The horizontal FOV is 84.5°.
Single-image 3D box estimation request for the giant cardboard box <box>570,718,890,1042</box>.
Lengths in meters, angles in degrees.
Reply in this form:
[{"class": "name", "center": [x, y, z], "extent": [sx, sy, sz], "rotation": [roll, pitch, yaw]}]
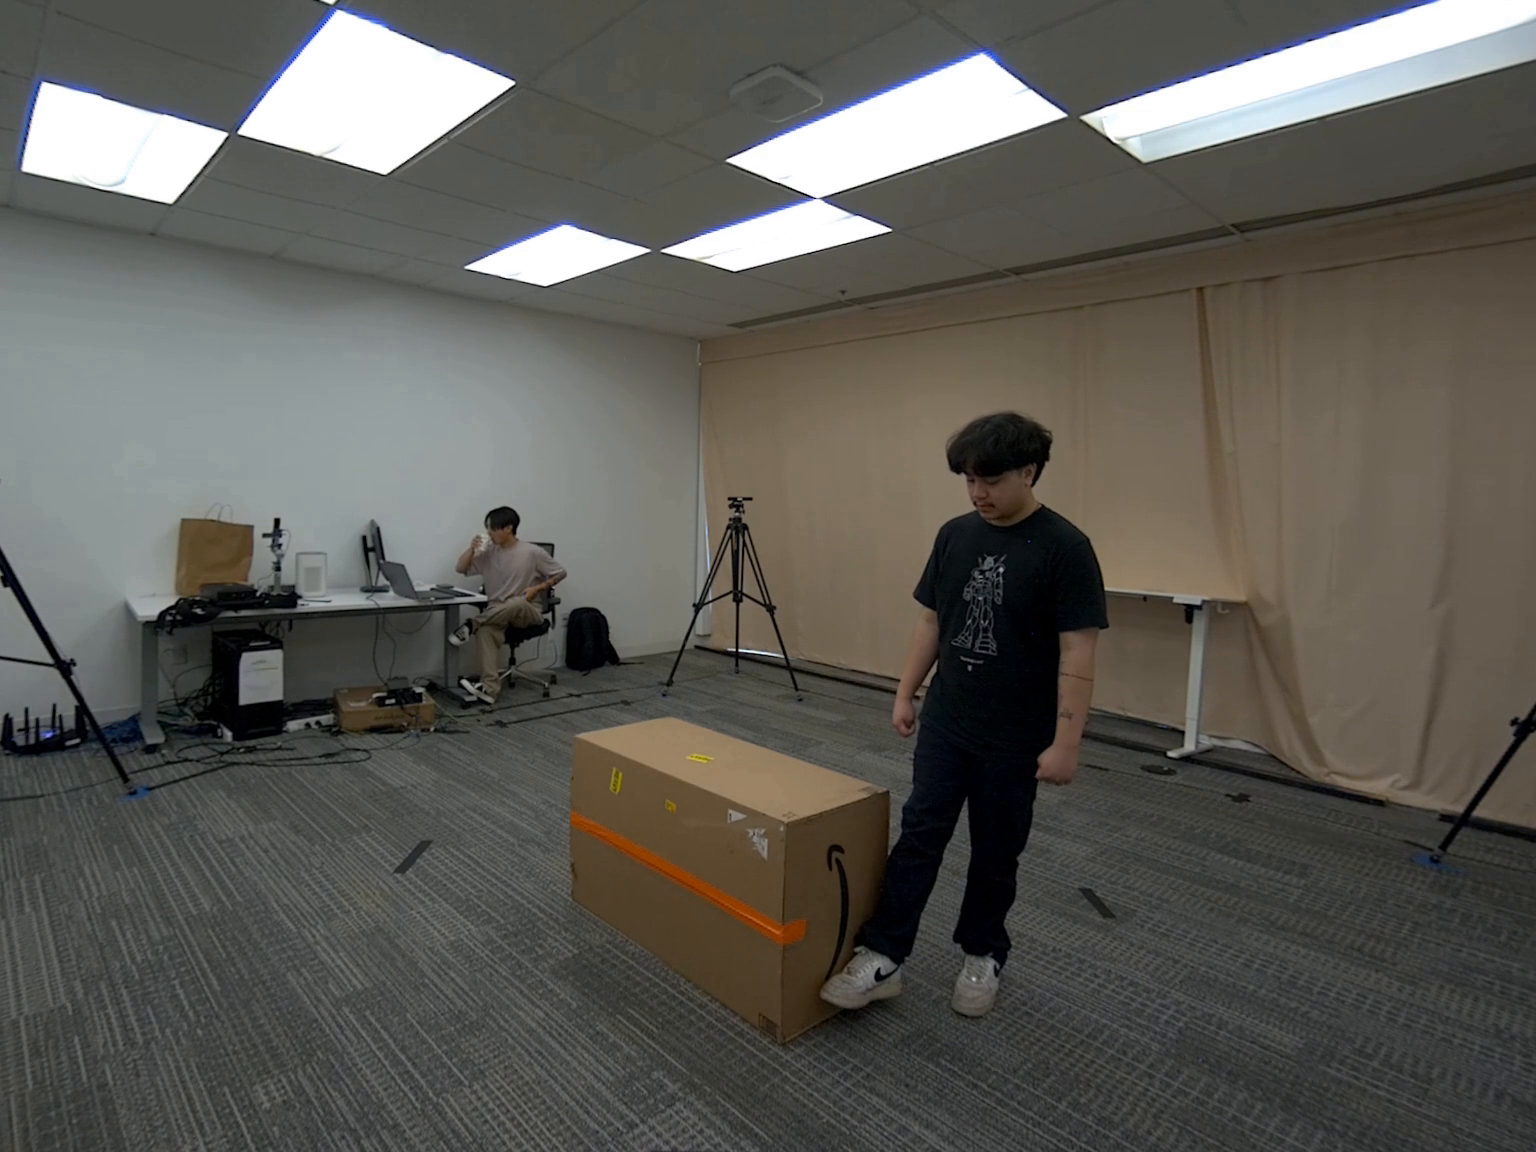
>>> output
[{"class": "giant cardboard box", "center": [-0.178, 0.864, 2.651], "extent": [0.437, 0.582, 1.053], "rotation": [-3, 6, -43]}]
